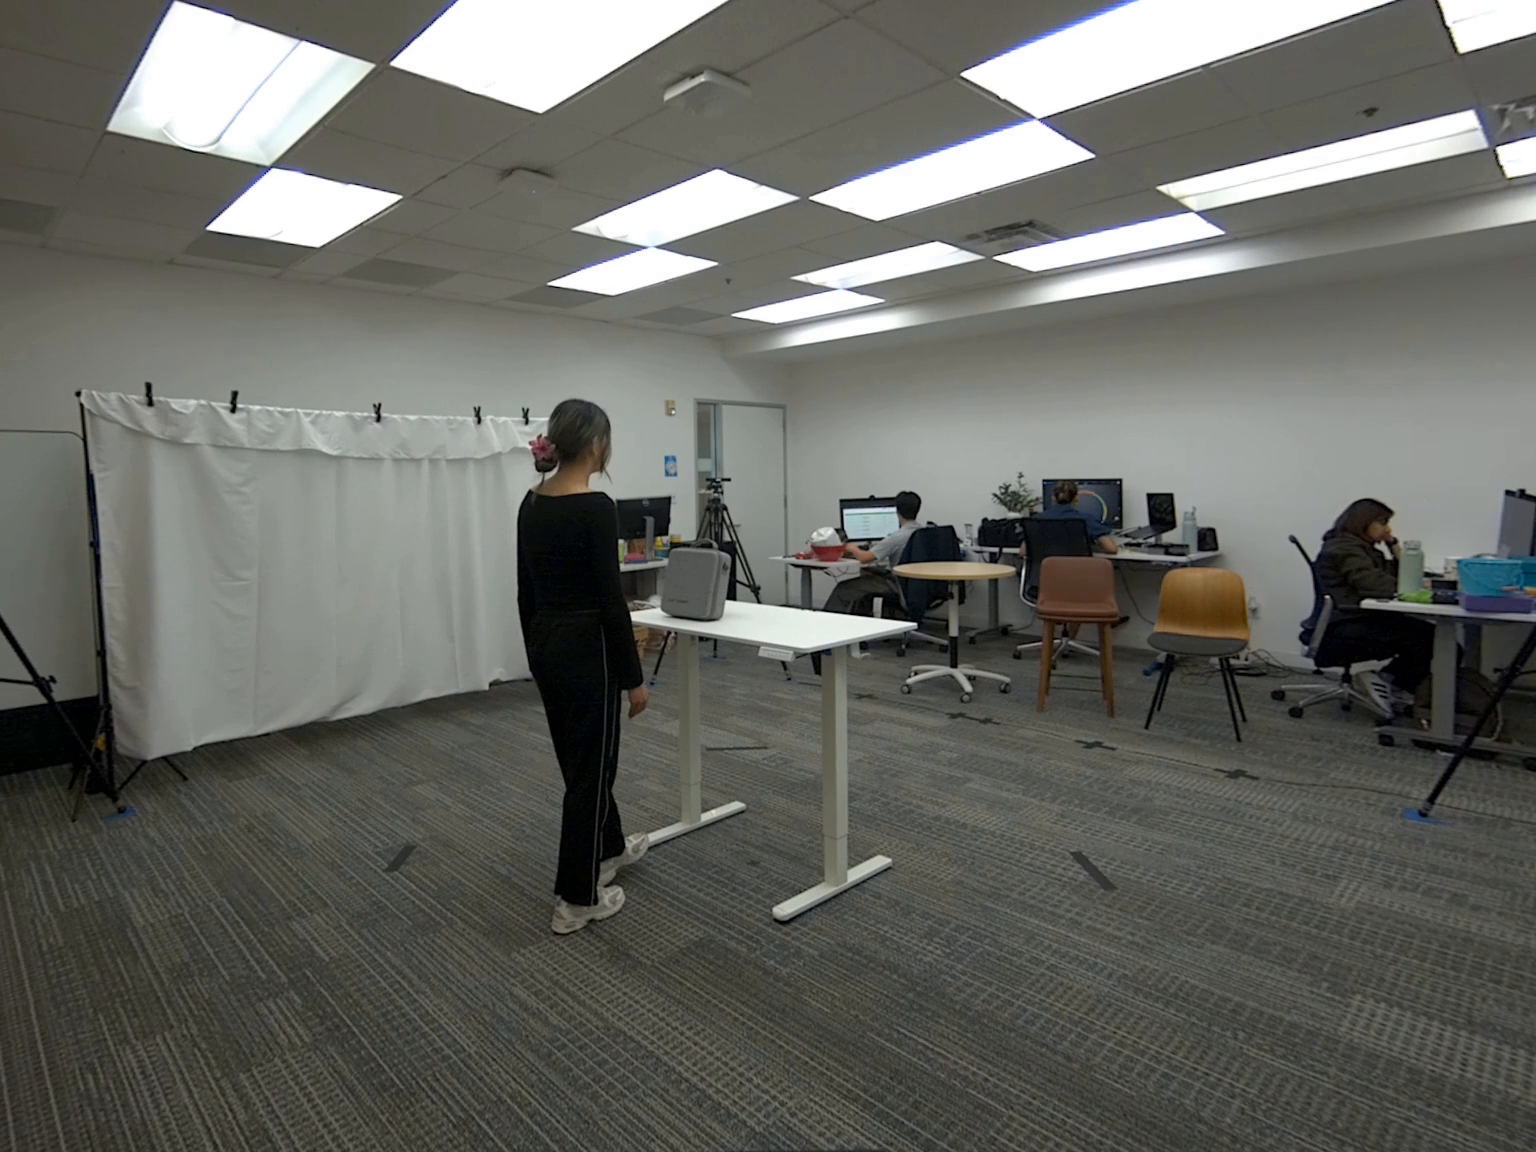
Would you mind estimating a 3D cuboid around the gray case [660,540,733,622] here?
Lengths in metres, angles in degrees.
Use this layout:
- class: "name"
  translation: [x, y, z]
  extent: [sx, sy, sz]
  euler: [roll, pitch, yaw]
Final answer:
- class: "gray case"
  translation: [-0.267, 0.026, 3.174]
  extent: [0.265, 0.261, 0.101]
  euler: [4, -6, 43]
